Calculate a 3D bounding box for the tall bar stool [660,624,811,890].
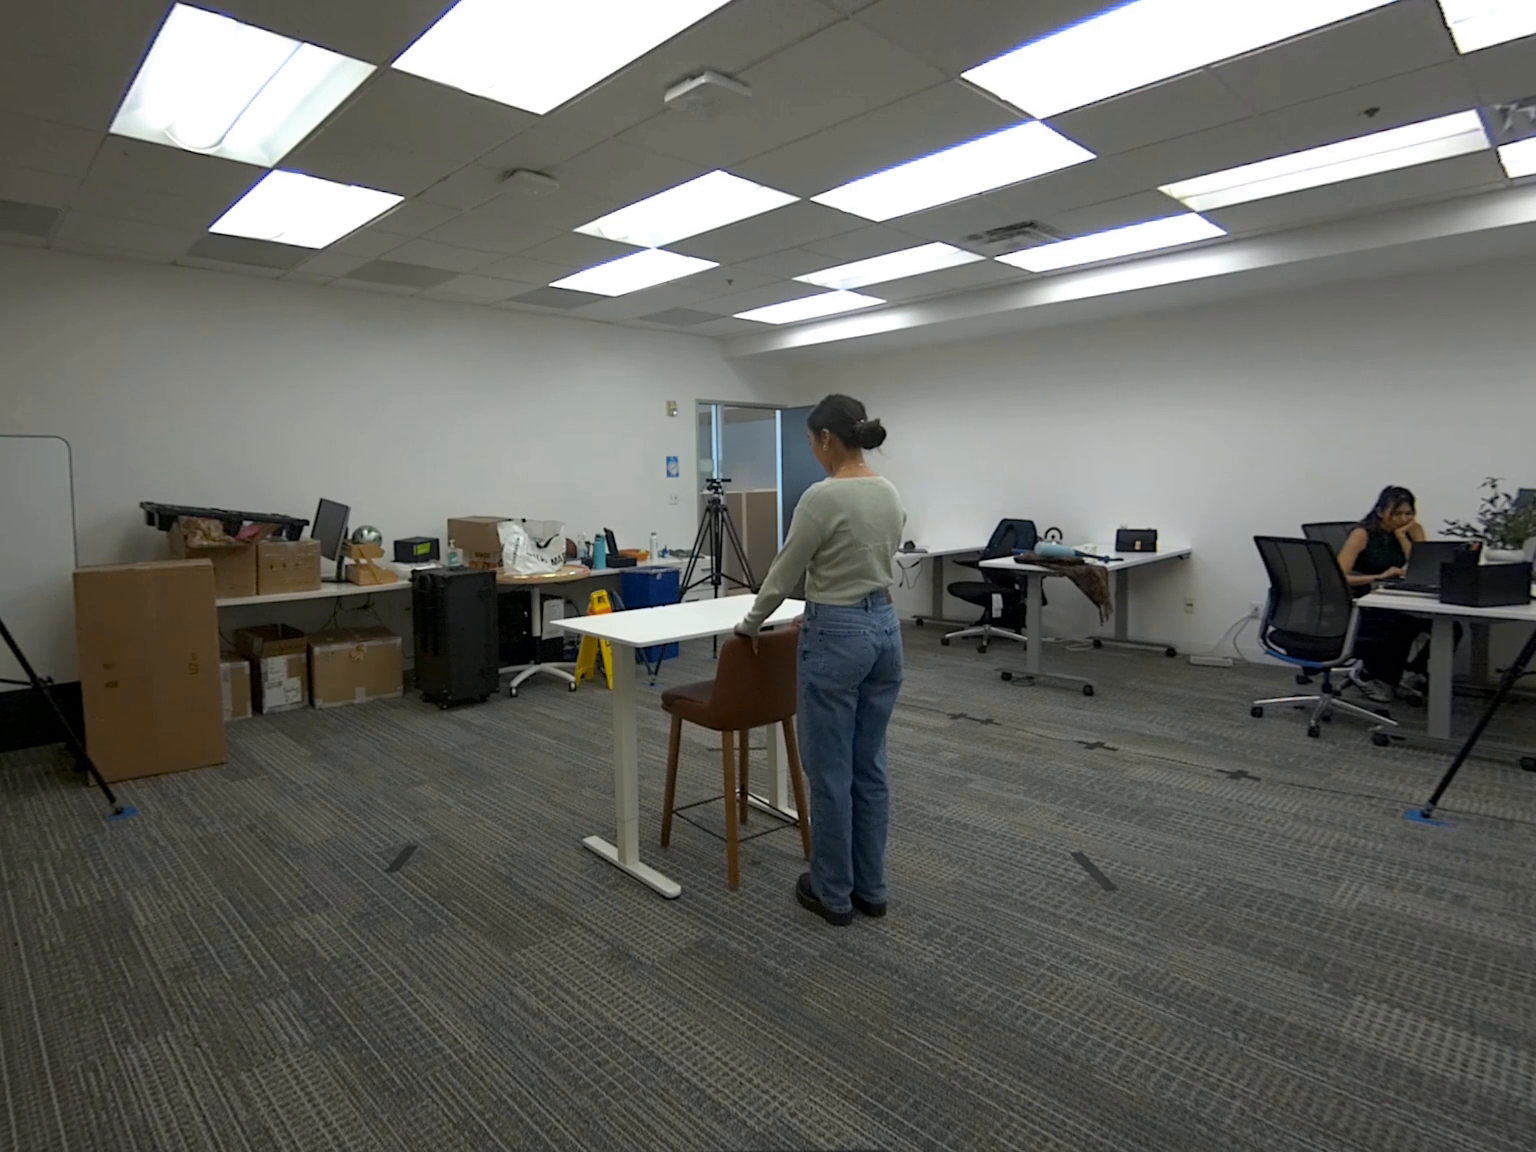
[{"bbox_3d":[-0.113,0.606,3.155,0.444,0.885,0.482,-3,7,-37],"label":"tall bar stool"}]
